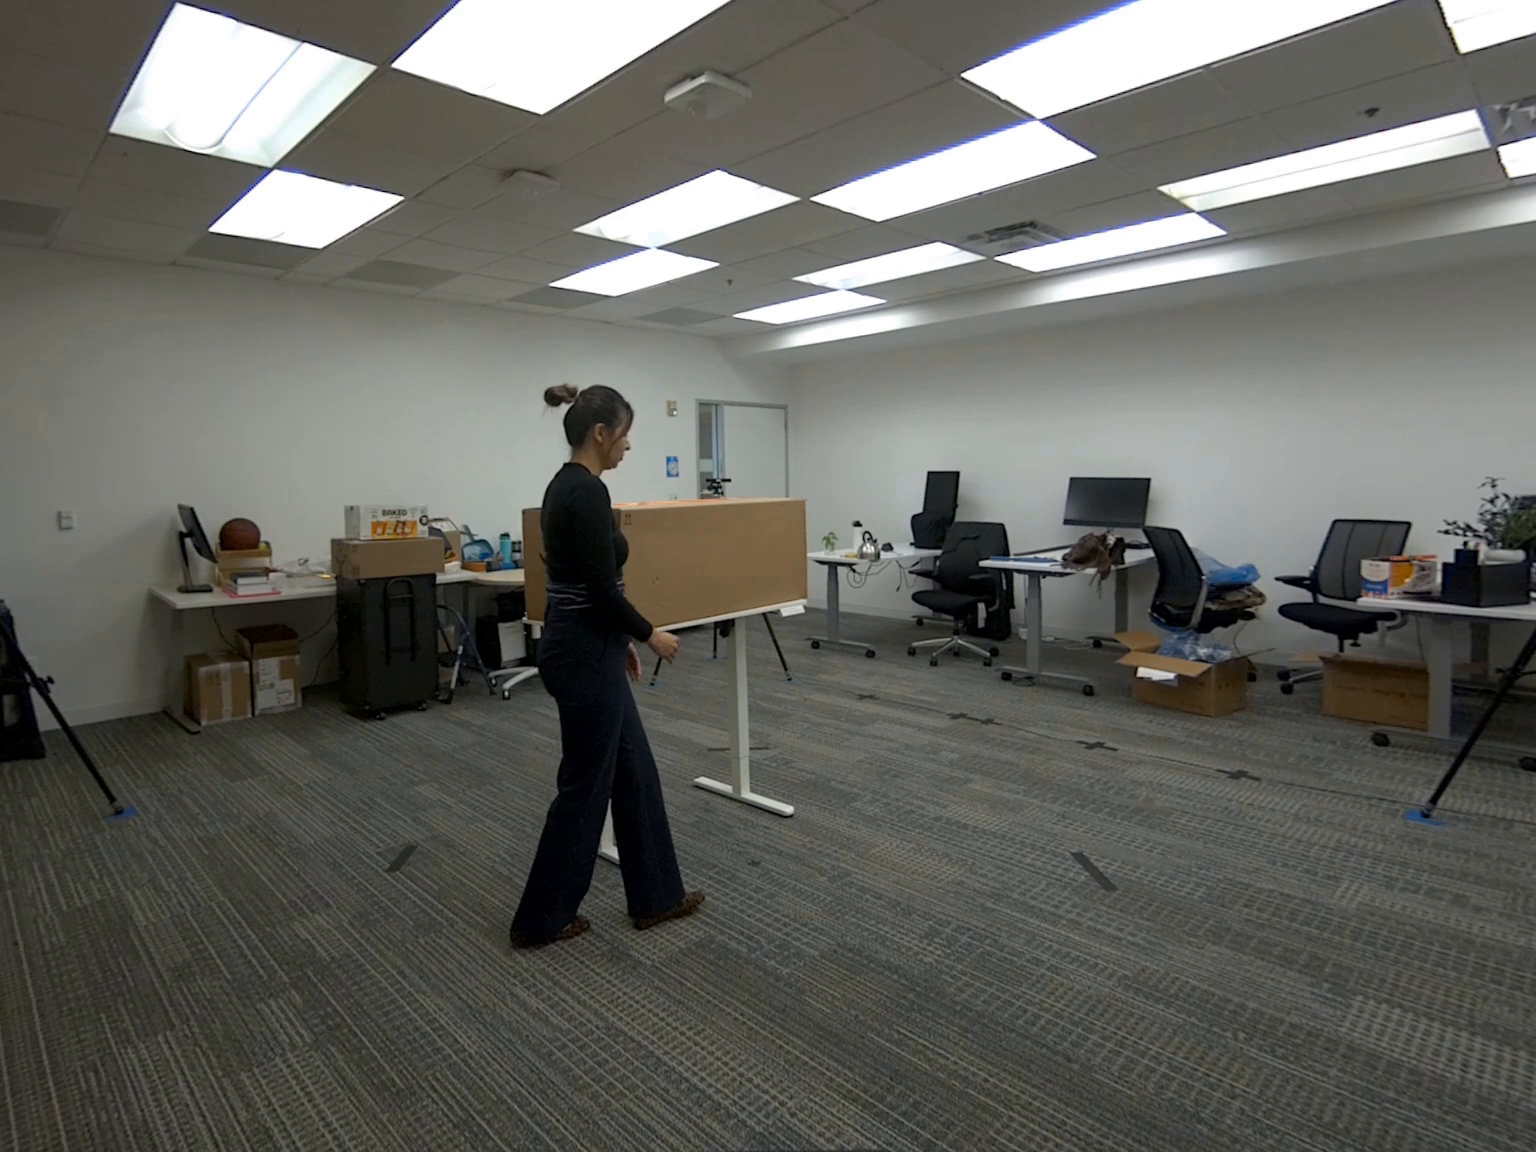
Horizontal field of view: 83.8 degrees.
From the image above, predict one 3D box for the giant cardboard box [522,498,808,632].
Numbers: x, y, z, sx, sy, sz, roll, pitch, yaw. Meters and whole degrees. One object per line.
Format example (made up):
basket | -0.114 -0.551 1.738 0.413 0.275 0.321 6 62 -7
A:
giant cardboard box | -0.380 -0.078 3.418 0.595 0.424 1.000 2 7 42
